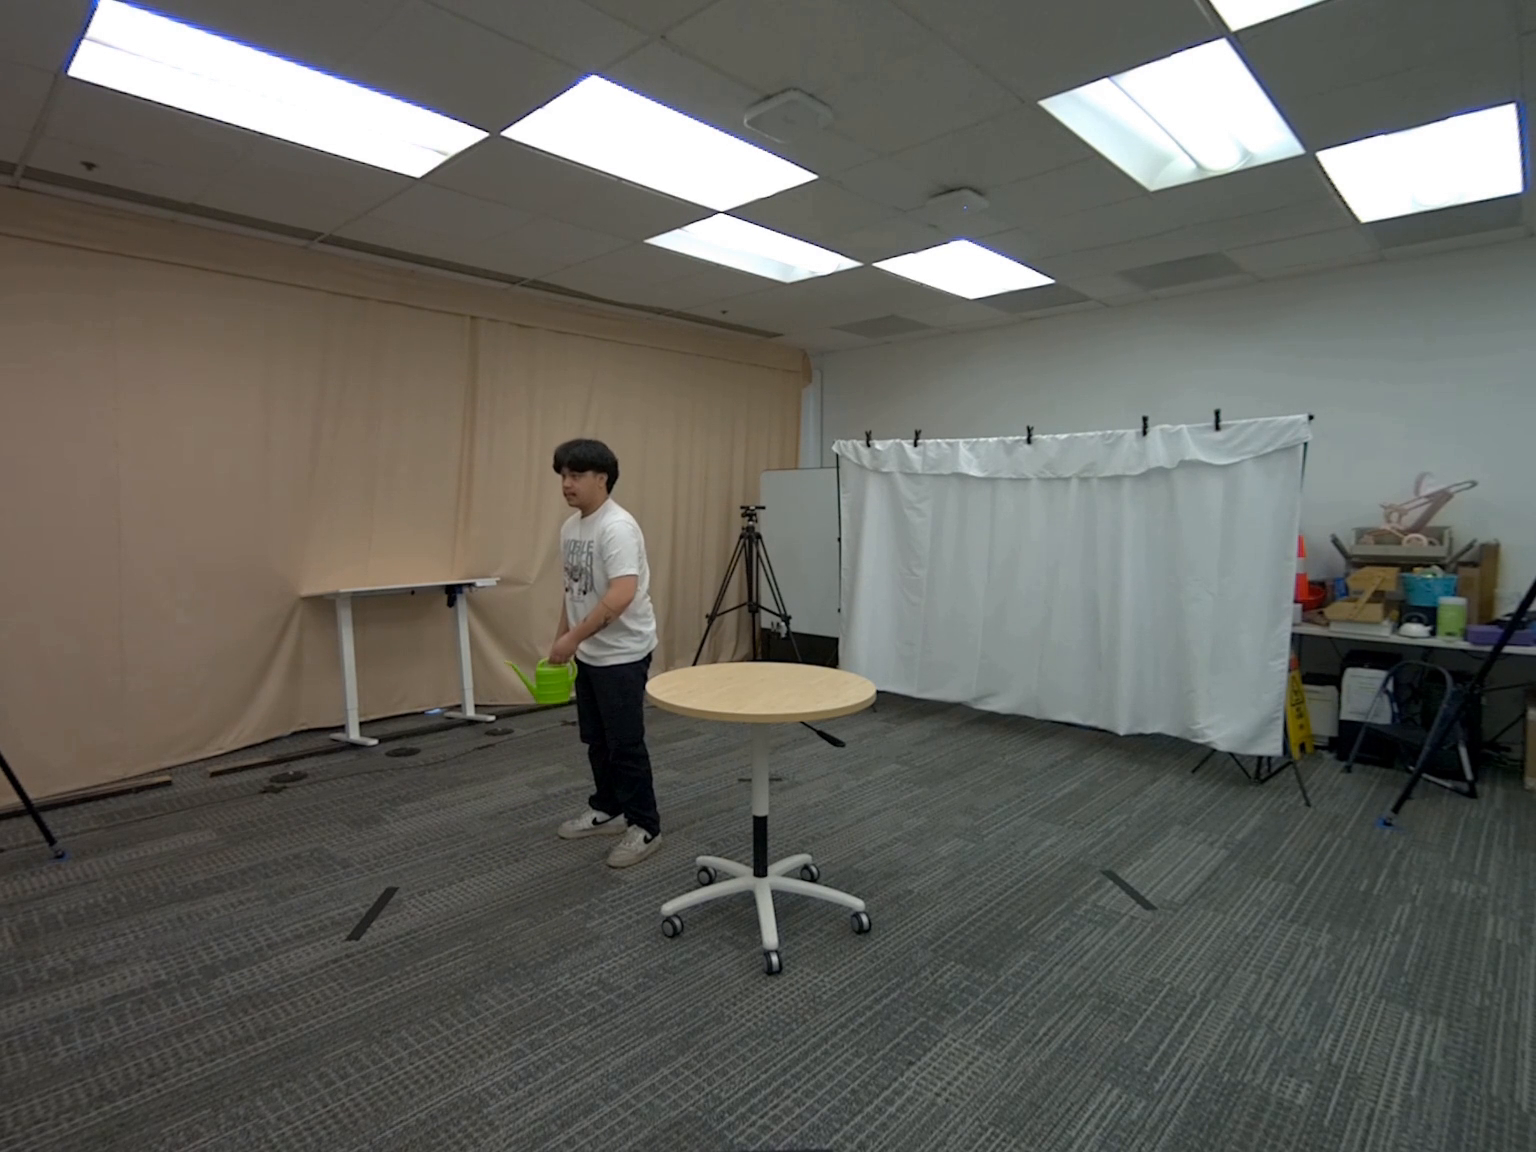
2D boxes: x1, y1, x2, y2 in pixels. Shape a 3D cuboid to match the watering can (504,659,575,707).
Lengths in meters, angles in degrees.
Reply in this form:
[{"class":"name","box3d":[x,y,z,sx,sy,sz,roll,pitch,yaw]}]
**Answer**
[{"class":"watering can","box3d":[-0.858,0.389,3.209,0.276,0.176,0.099,0,2,-7]}]
